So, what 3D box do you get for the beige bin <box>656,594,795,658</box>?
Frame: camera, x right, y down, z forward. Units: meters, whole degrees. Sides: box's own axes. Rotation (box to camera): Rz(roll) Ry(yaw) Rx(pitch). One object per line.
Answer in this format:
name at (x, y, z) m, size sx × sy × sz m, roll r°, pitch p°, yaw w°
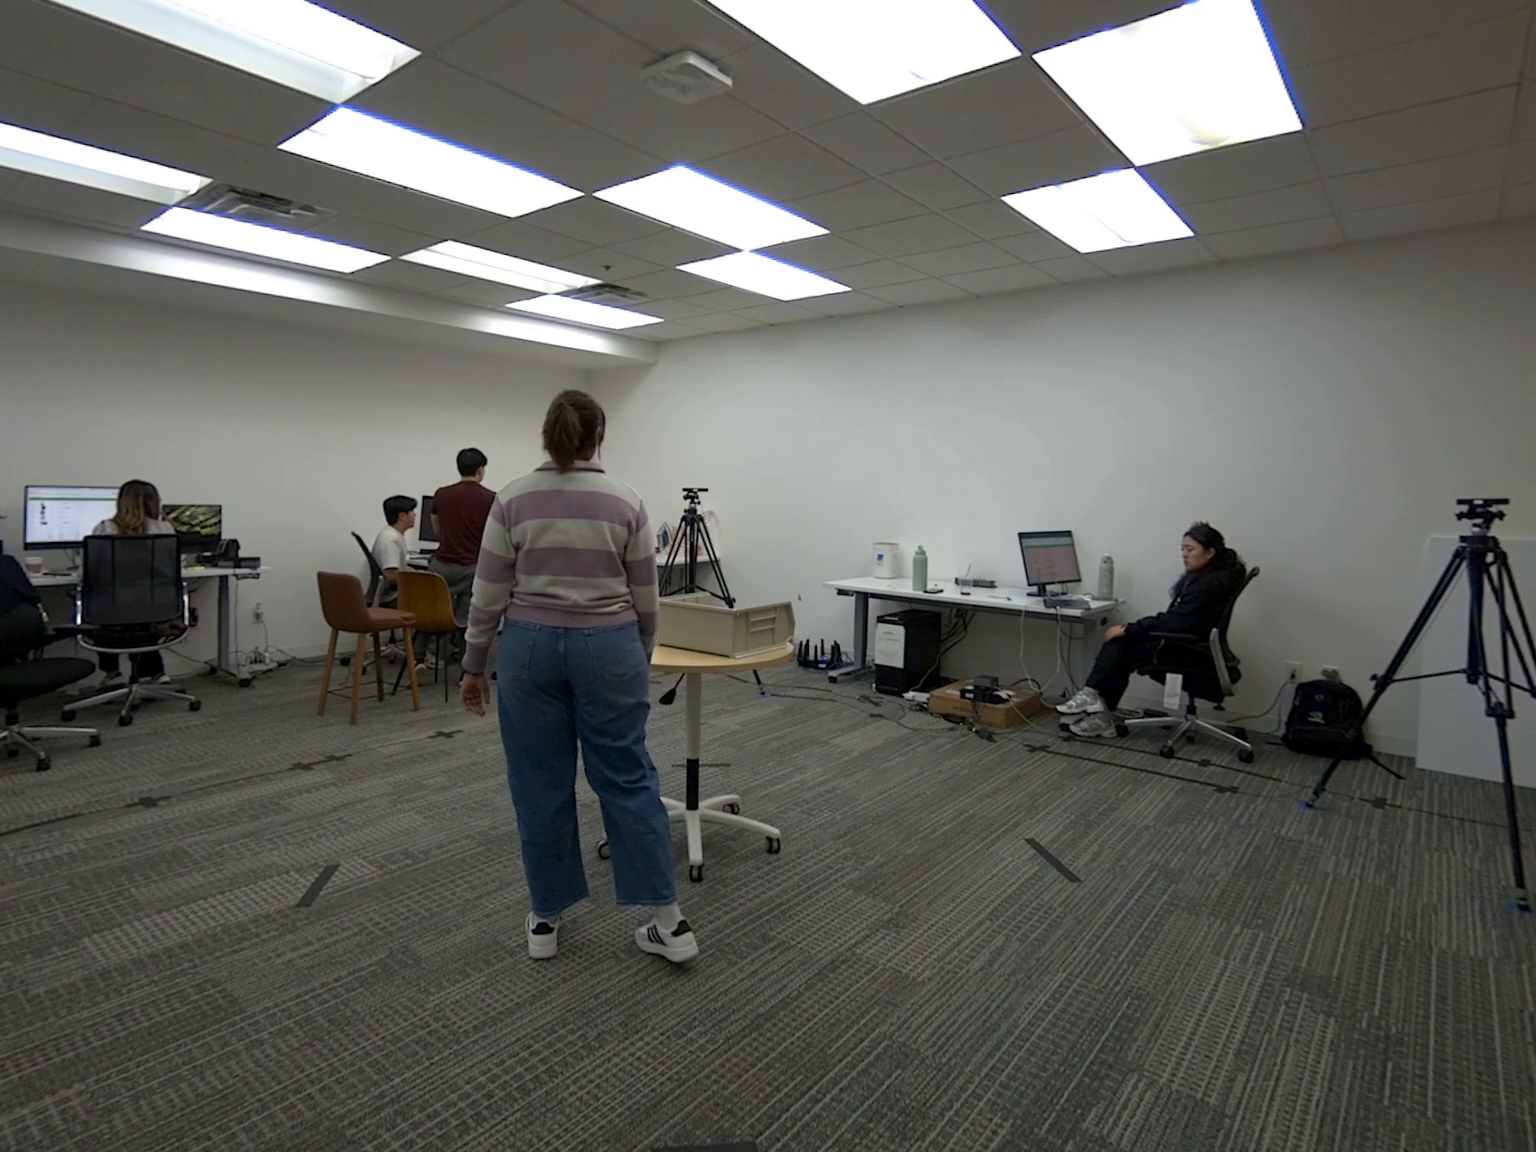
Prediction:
beige bin at (-0.182, 0.179, 3.290) m, size 0.436 × 0.188 × 0.367 m, roll 6°, pitch 8°, yaw 37°
